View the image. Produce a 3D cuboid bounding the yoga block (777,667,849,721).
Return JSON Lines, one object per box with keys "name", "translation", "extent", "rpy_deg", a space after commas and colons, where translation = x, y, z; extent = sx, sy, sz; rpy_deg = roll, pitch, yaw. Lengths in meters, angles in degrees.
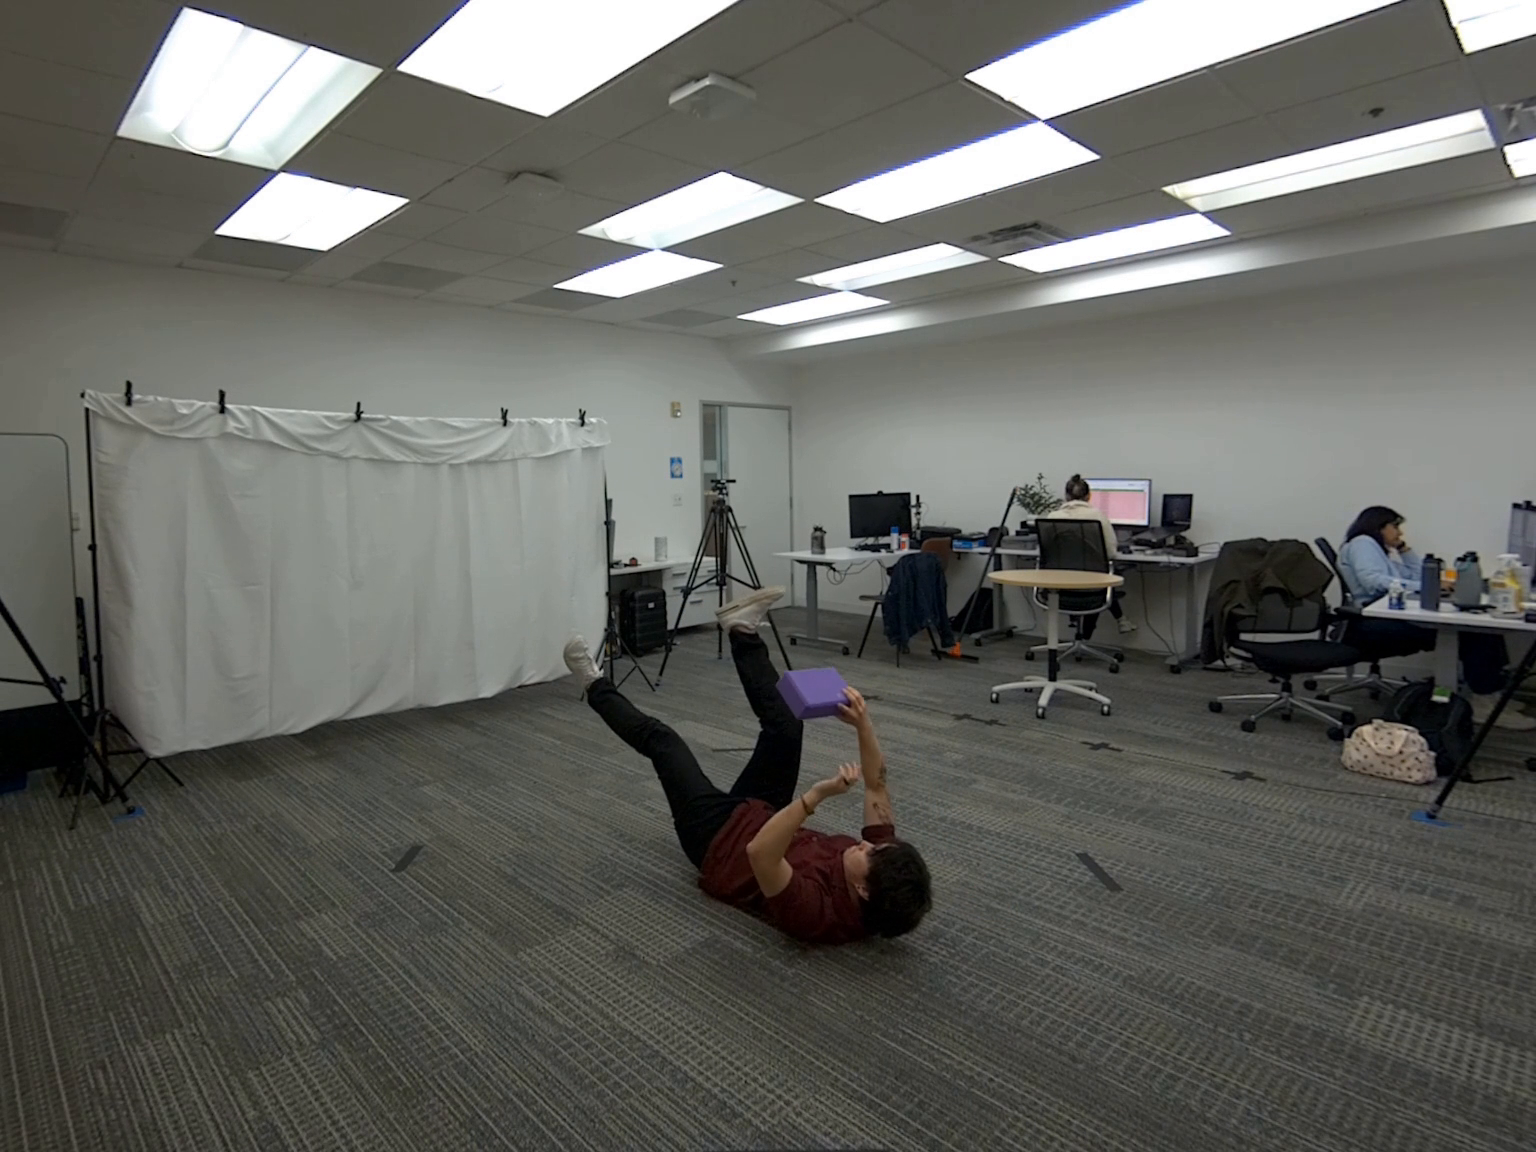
{"name": "yoga block", "translation": [0.157, 0.376, 2.746], "extent": [0.222, 0.076, 0.154], "rpy_deg": [1, 42, -41]}
